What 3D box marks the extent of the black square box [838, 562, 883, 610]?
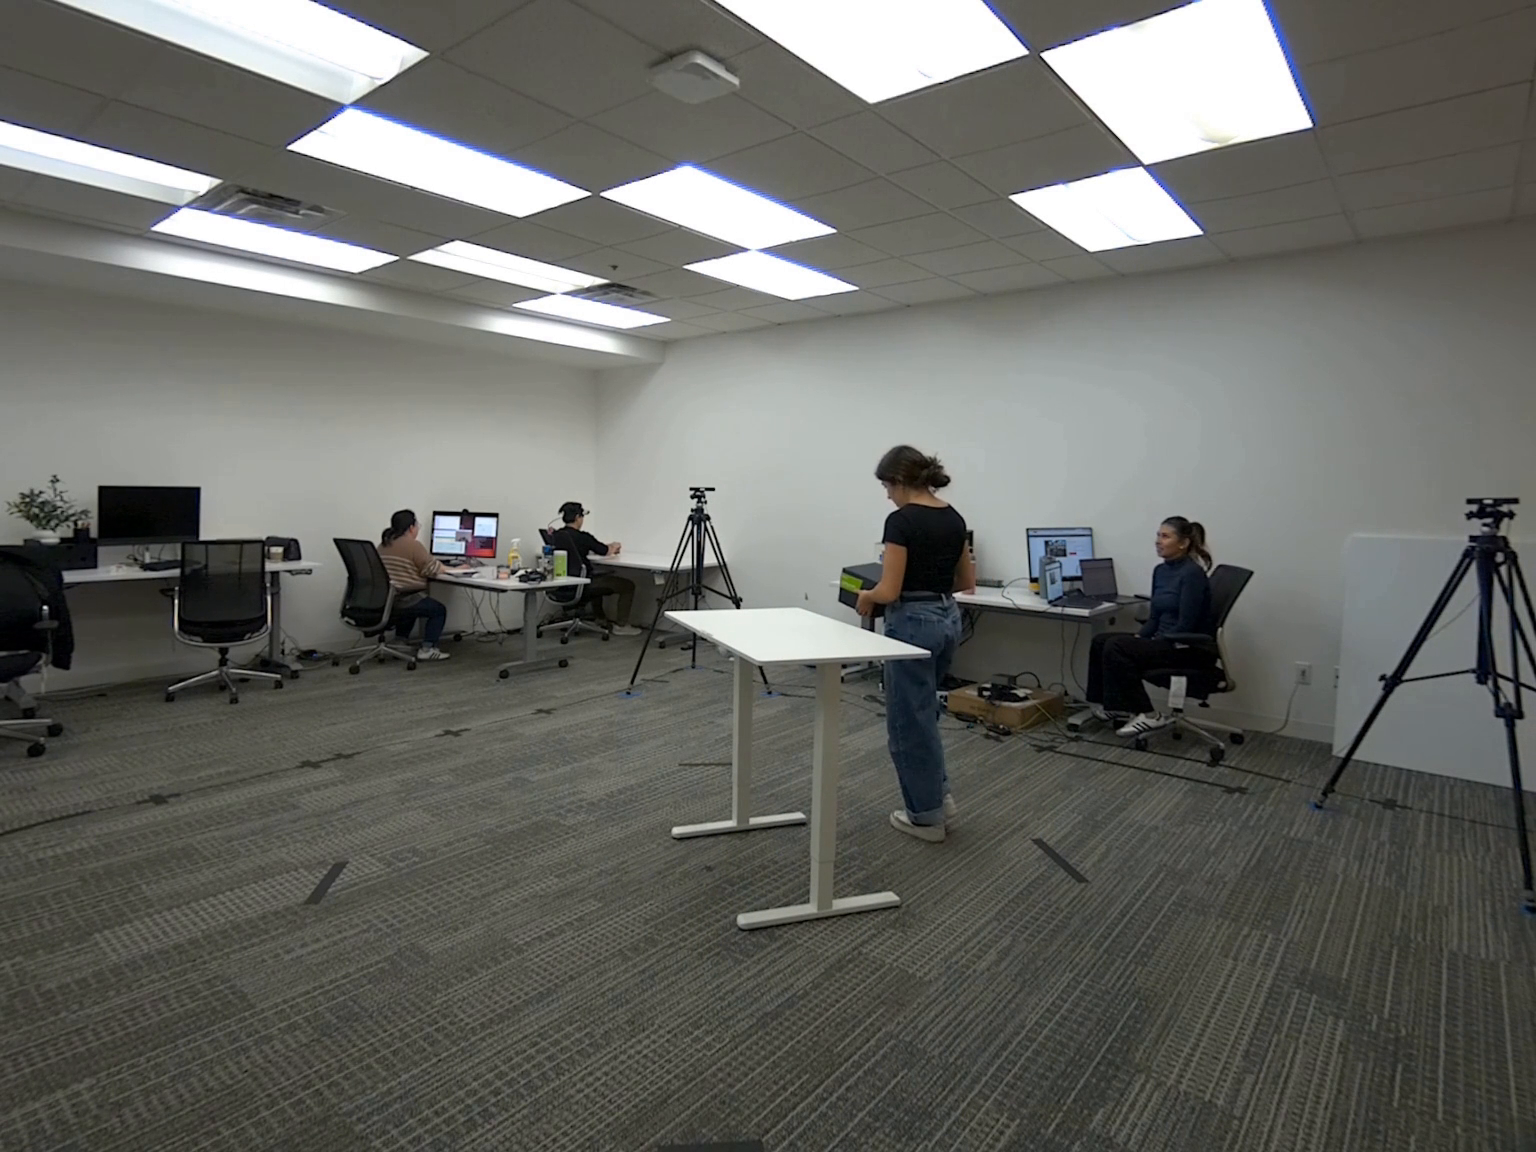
[{"bbox_3d":[0.460,0.050,3.666,0.211,0.154,0.237,-9,22,-39],"label":"black square box"}]
